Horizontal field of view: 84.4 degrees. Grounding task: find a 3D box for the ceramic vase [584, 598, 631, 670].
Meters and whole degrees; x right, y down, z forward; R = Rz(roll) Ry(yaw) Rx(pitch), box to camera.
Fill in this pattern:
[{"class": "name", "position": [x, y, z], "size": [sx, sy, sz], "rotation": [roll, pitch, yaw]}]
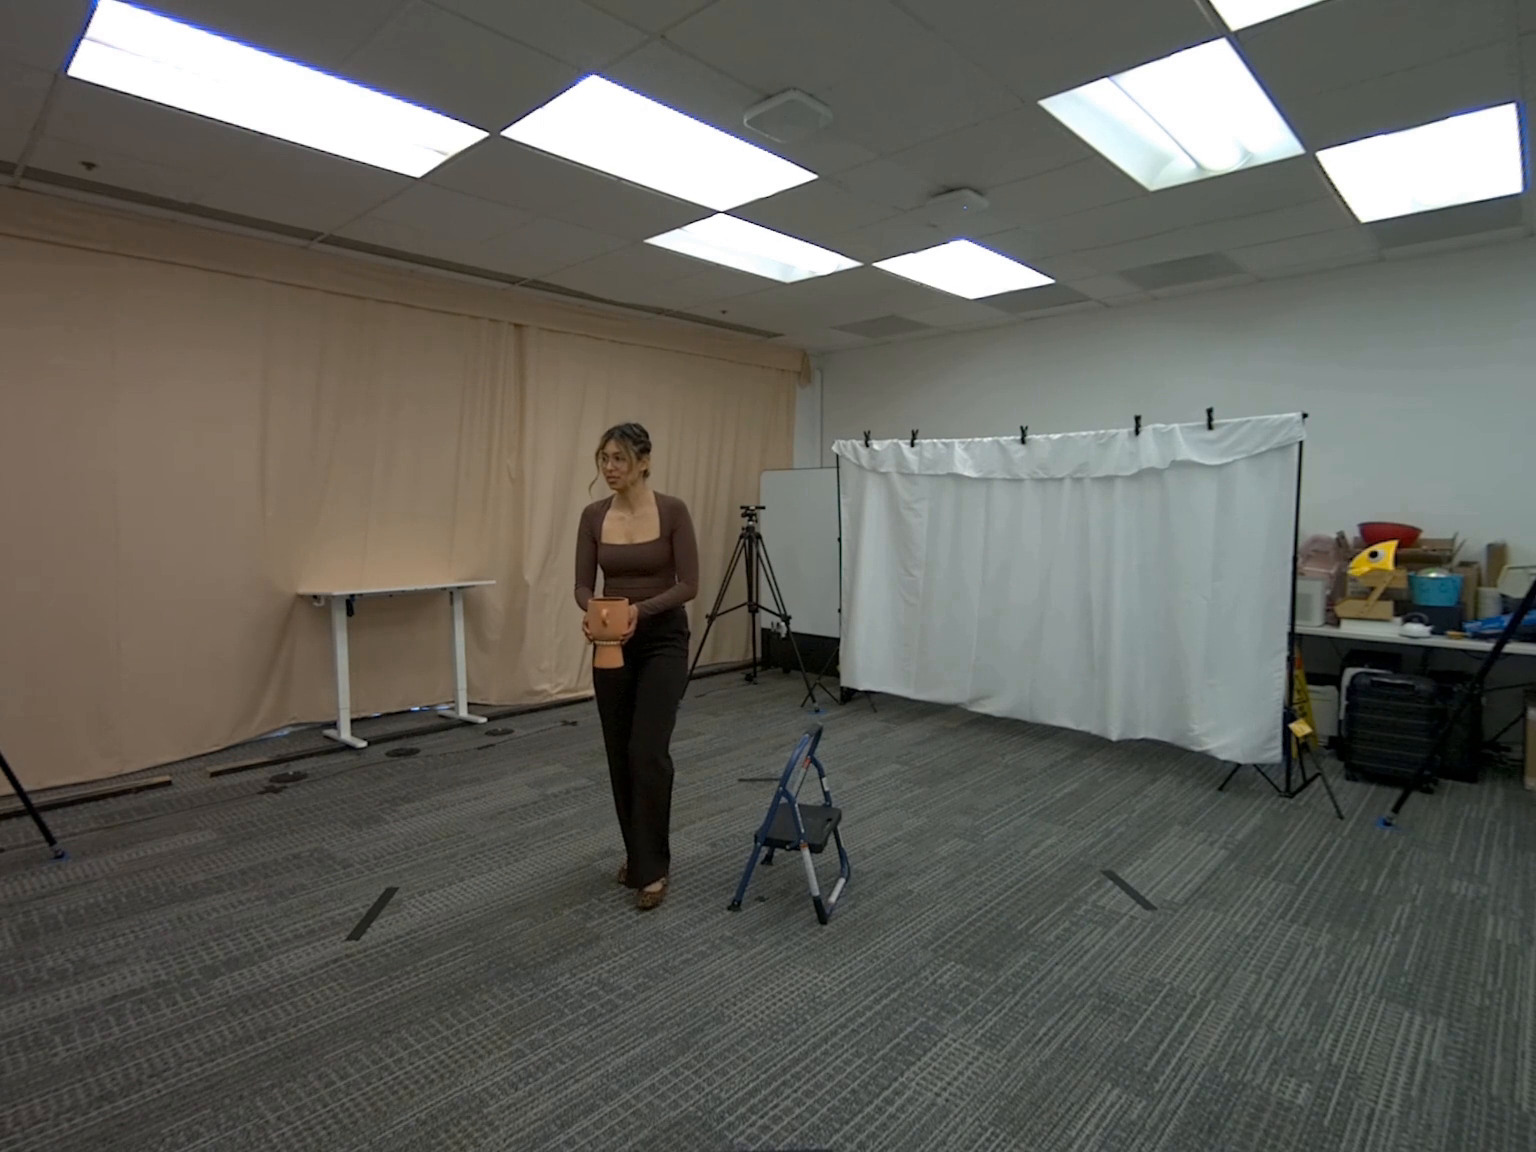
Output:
[{"class": "ceramic vase", "position": [-0.527, 0.187, 2.791], "size": [0.139, 0.219, 0.154], "rotation": [2, 6, 40]}]
